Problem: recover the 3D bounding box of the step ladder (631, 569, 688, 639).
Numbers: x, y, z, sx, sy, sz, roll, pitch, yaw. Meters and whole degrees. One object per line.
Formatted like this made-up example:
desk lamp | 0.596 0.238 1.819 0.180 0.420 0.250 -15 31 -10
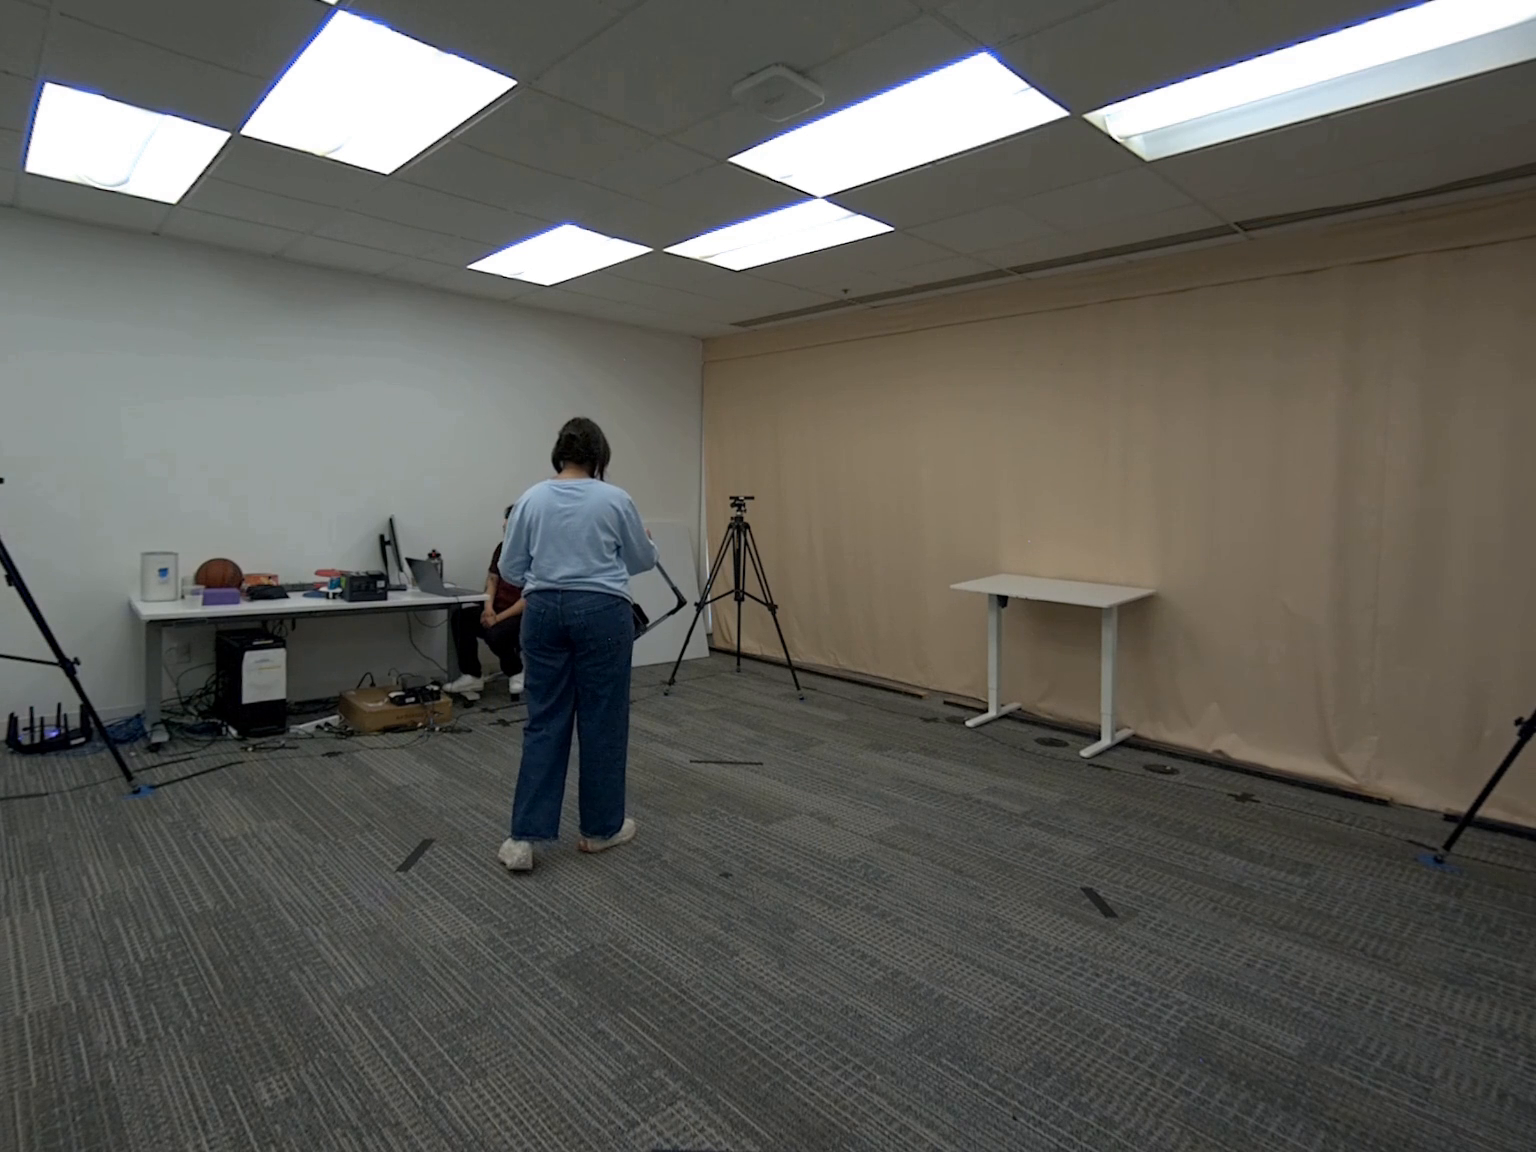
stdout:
step ladder | -0.743 0.139 3.690 0.610 0.432 0.345 -34 -4 34
